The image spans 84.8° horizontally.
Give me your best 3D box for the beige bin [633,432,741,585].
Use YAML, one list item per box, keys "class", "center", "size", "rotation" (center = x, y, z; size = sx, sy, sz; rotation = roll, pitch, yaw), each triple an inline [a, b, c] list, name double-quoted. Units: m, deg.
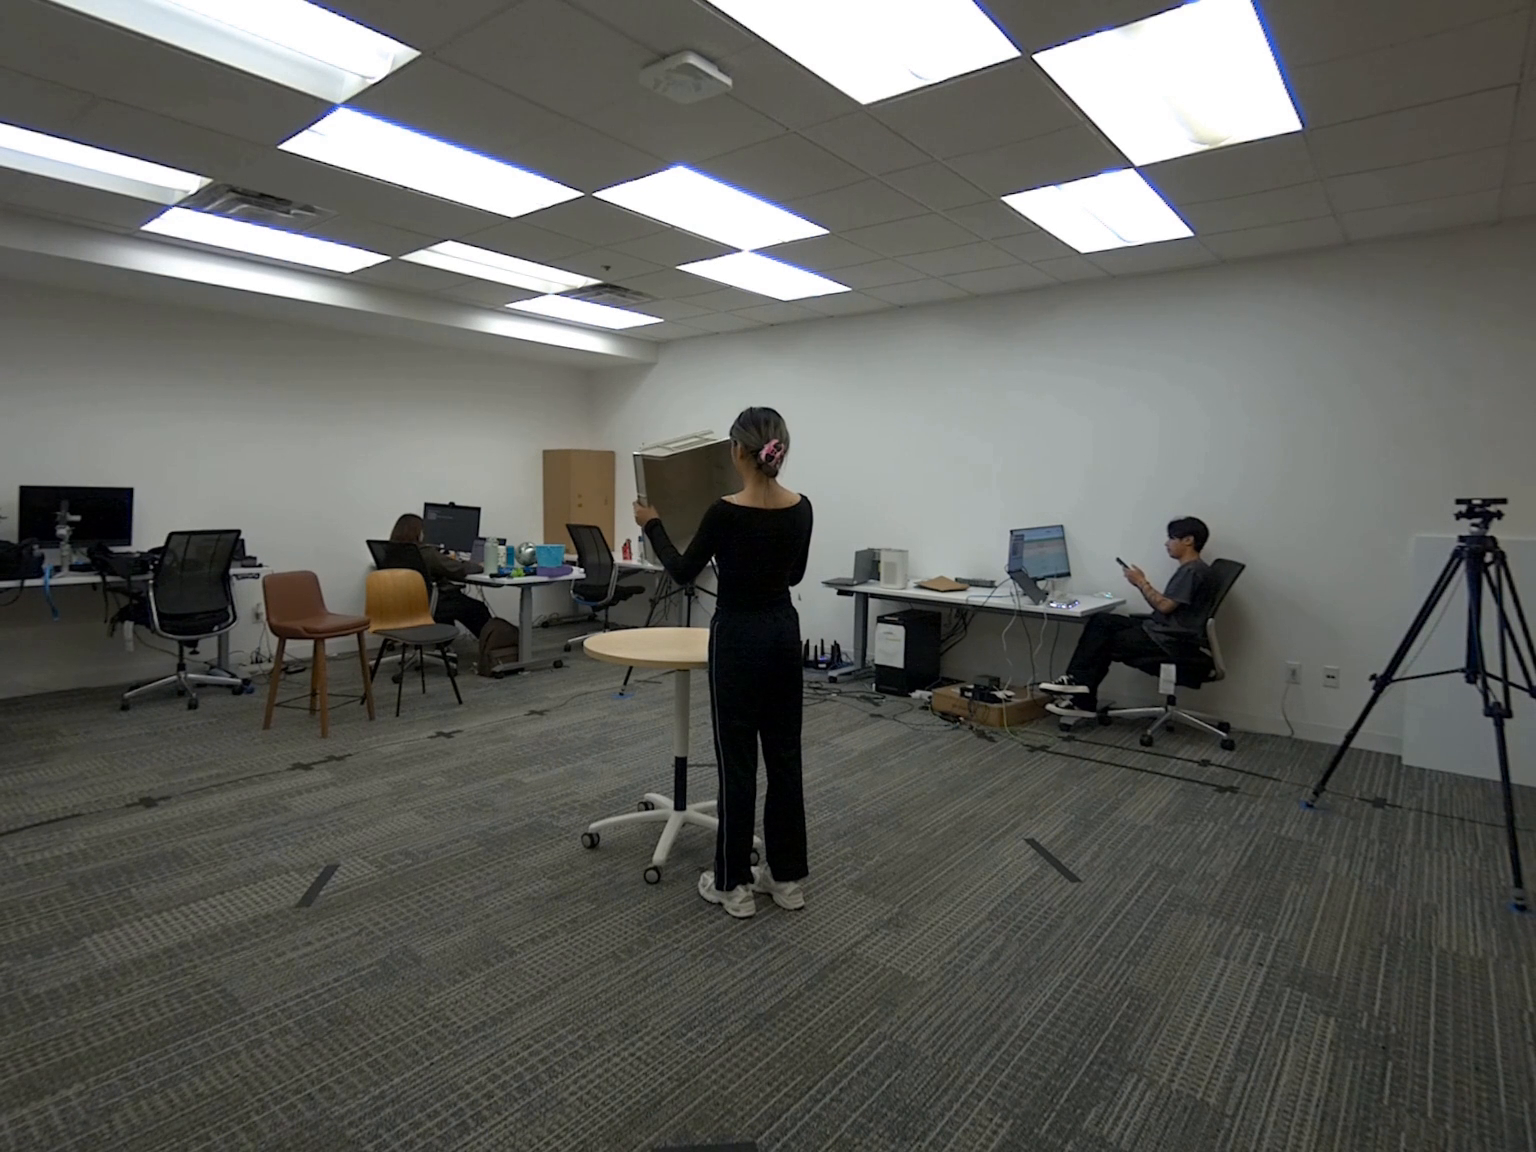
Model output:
- class: "beige bin"
  center: [-0.286, -0.274, 3.058]
  size: [0.370, 0.414, 0.196]
  rotation: [-20, 26, -34]
